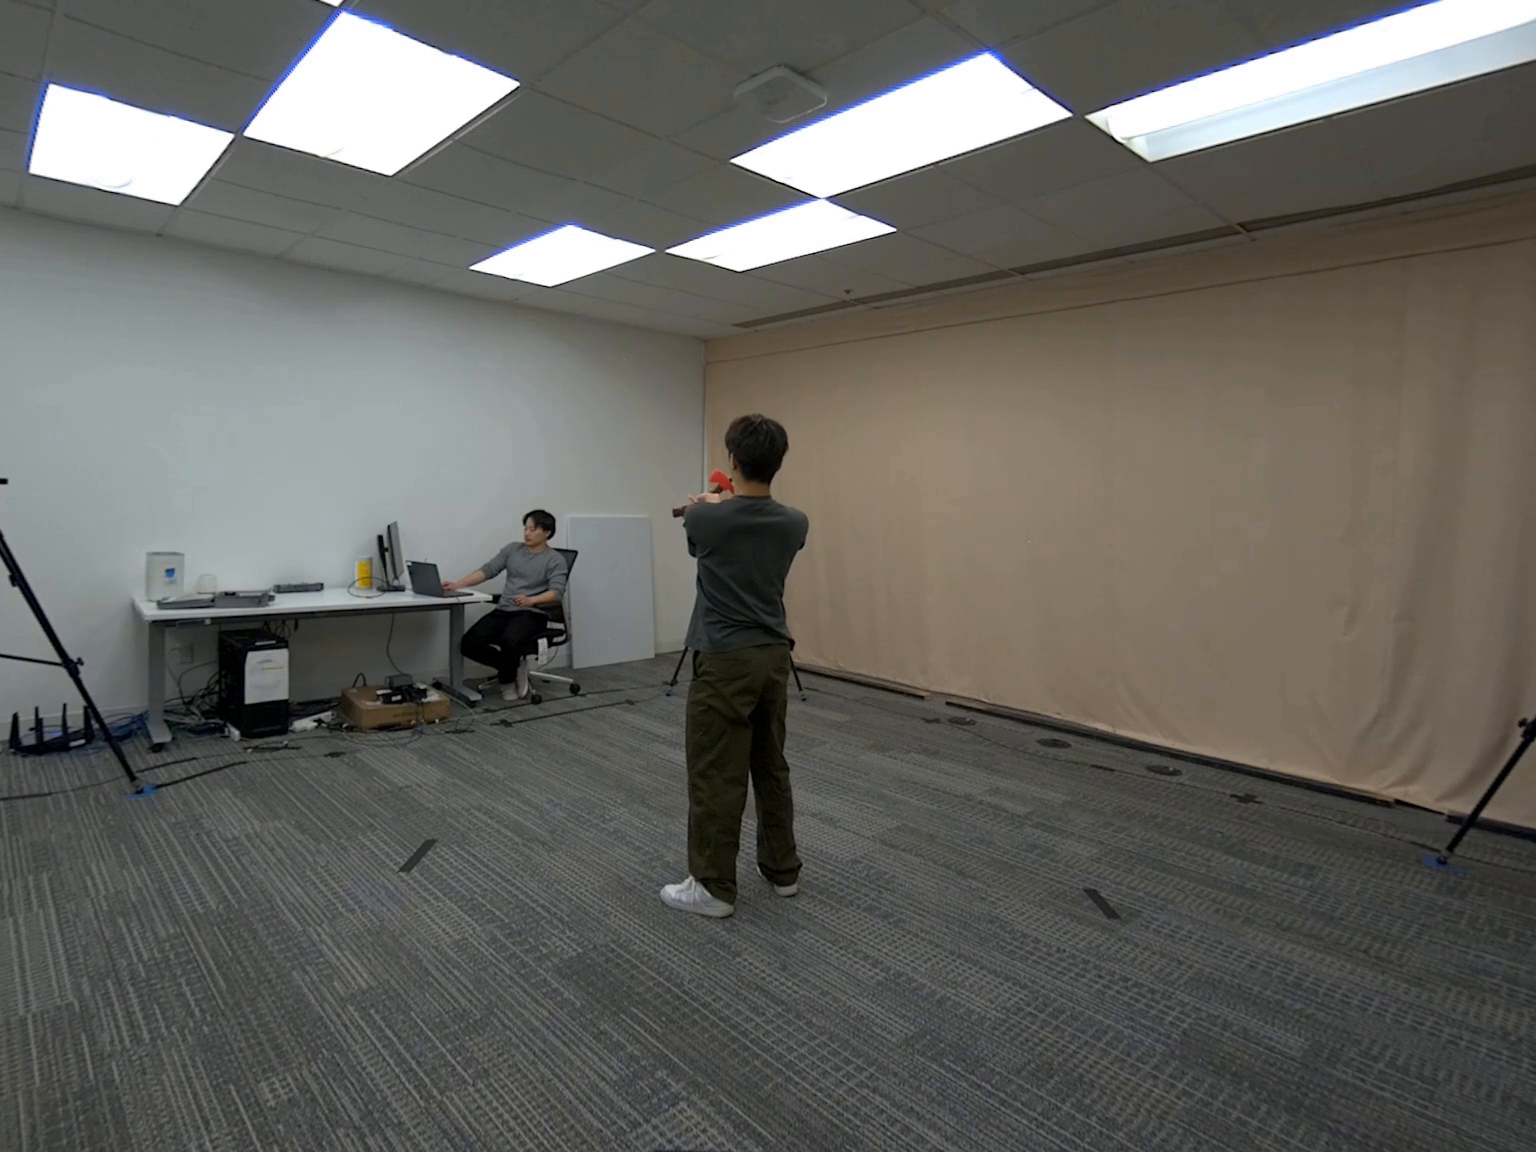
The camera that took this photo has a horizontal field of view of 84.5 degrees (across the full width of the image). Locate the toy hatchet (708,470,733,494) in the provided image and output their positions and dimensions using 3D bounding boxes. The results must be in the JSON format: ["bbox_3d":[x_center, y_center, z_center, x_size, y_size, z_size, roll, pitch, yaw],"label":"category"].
[{"bbox_3d":[-0.279,-0.336,3.315,0.269,0.128,0.030,-21,27,-9],"label":"toy hatchet"}]
